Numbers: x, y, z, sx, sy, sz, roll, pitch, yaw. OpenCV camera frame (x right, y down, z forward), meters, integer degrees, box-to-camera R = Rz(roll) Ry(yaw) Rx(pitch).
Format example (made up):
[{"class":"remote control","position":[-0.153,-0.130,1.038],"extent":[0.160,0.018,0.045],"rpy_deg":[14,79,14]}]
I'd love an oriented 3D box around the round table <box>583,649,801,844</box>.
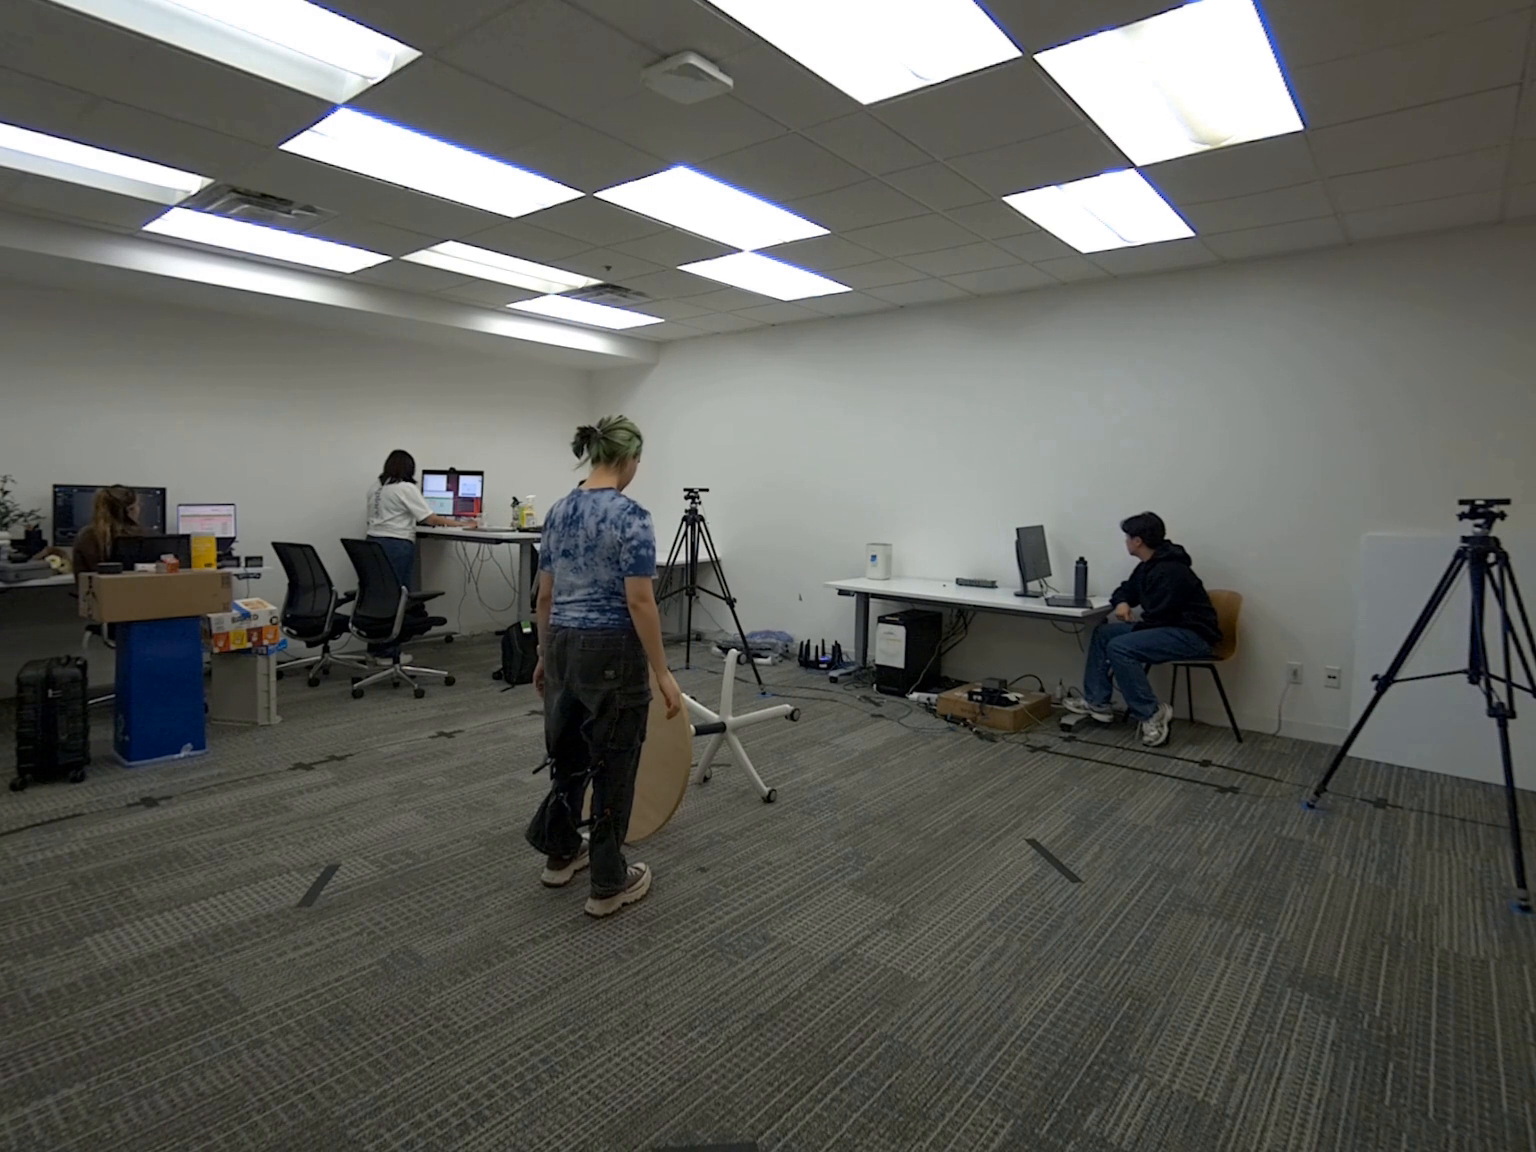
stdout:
[{"class":"round table","position":[-0.377,0.676,3.685],"extent":[0.789,0.765,0.767],"rpy_deg":[4,-2,39]}]
